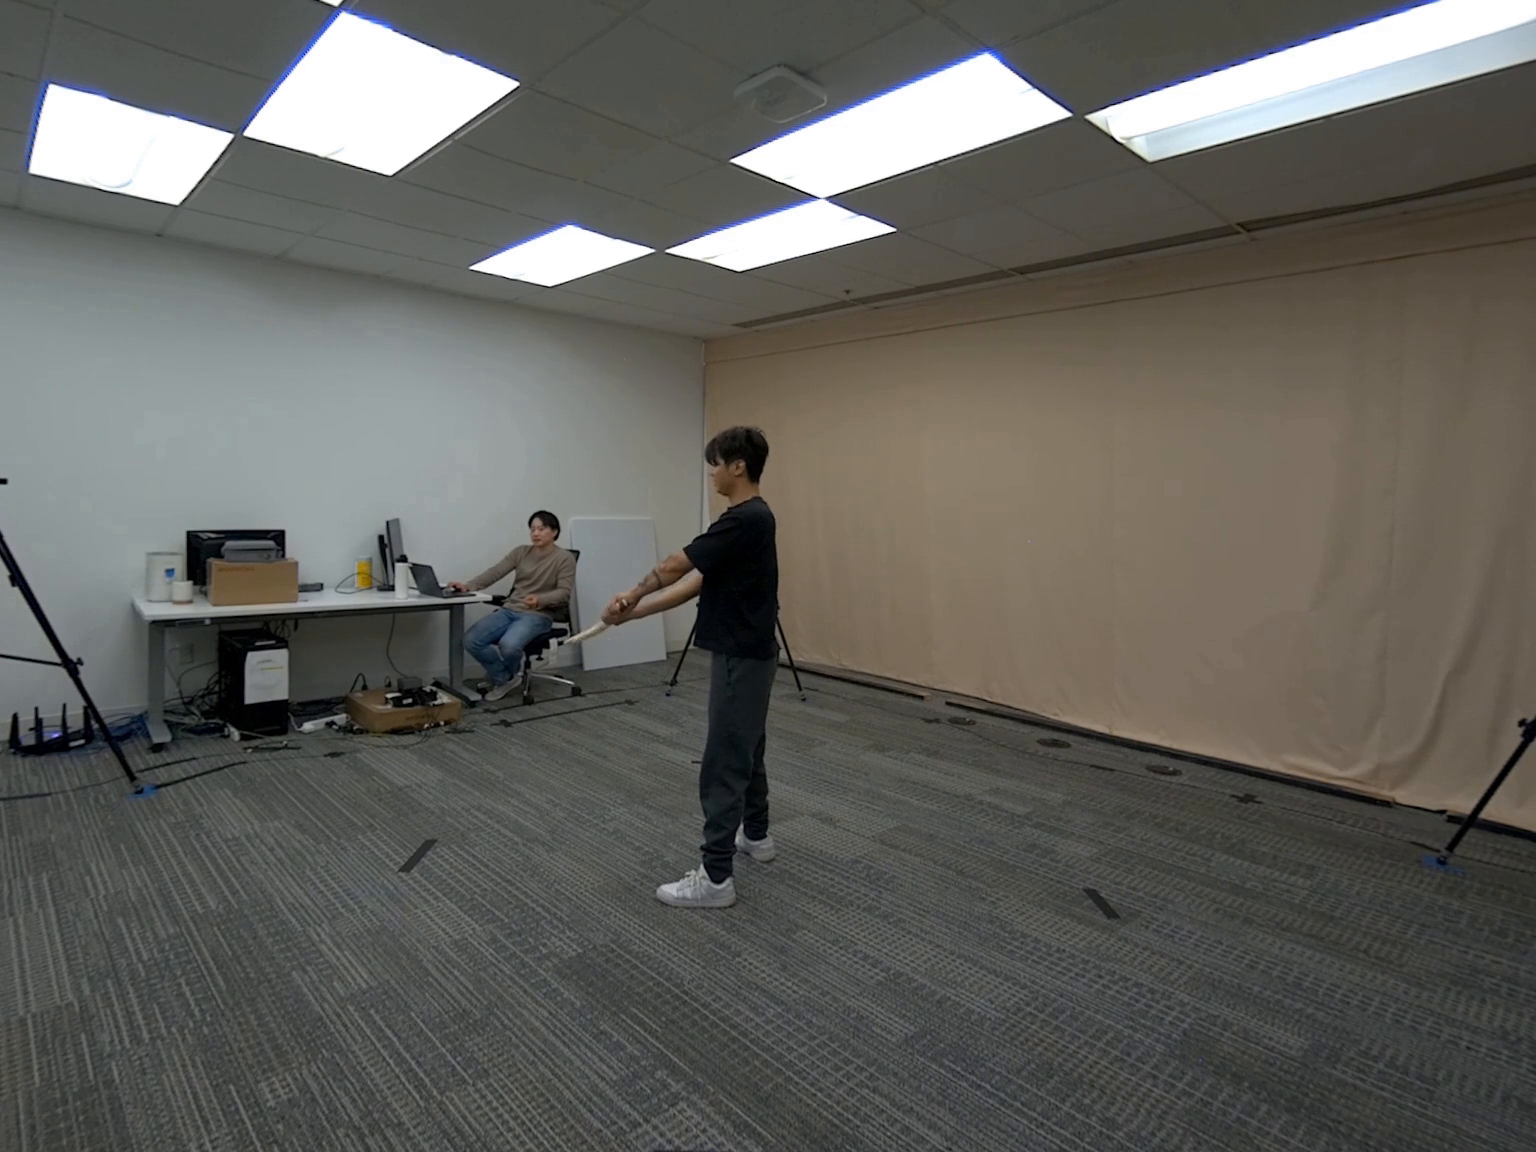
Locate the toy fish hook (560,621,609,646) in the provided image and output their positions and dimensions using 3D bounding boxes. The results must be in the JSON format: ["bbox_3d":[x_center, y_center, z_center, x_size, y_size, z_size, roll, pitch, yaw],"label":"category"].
[{"bbox_3d":[-0.653,0.195,3.209,0.223,0.048,0.509,-32,-1,-28],"label":"toy fish hook"}]
